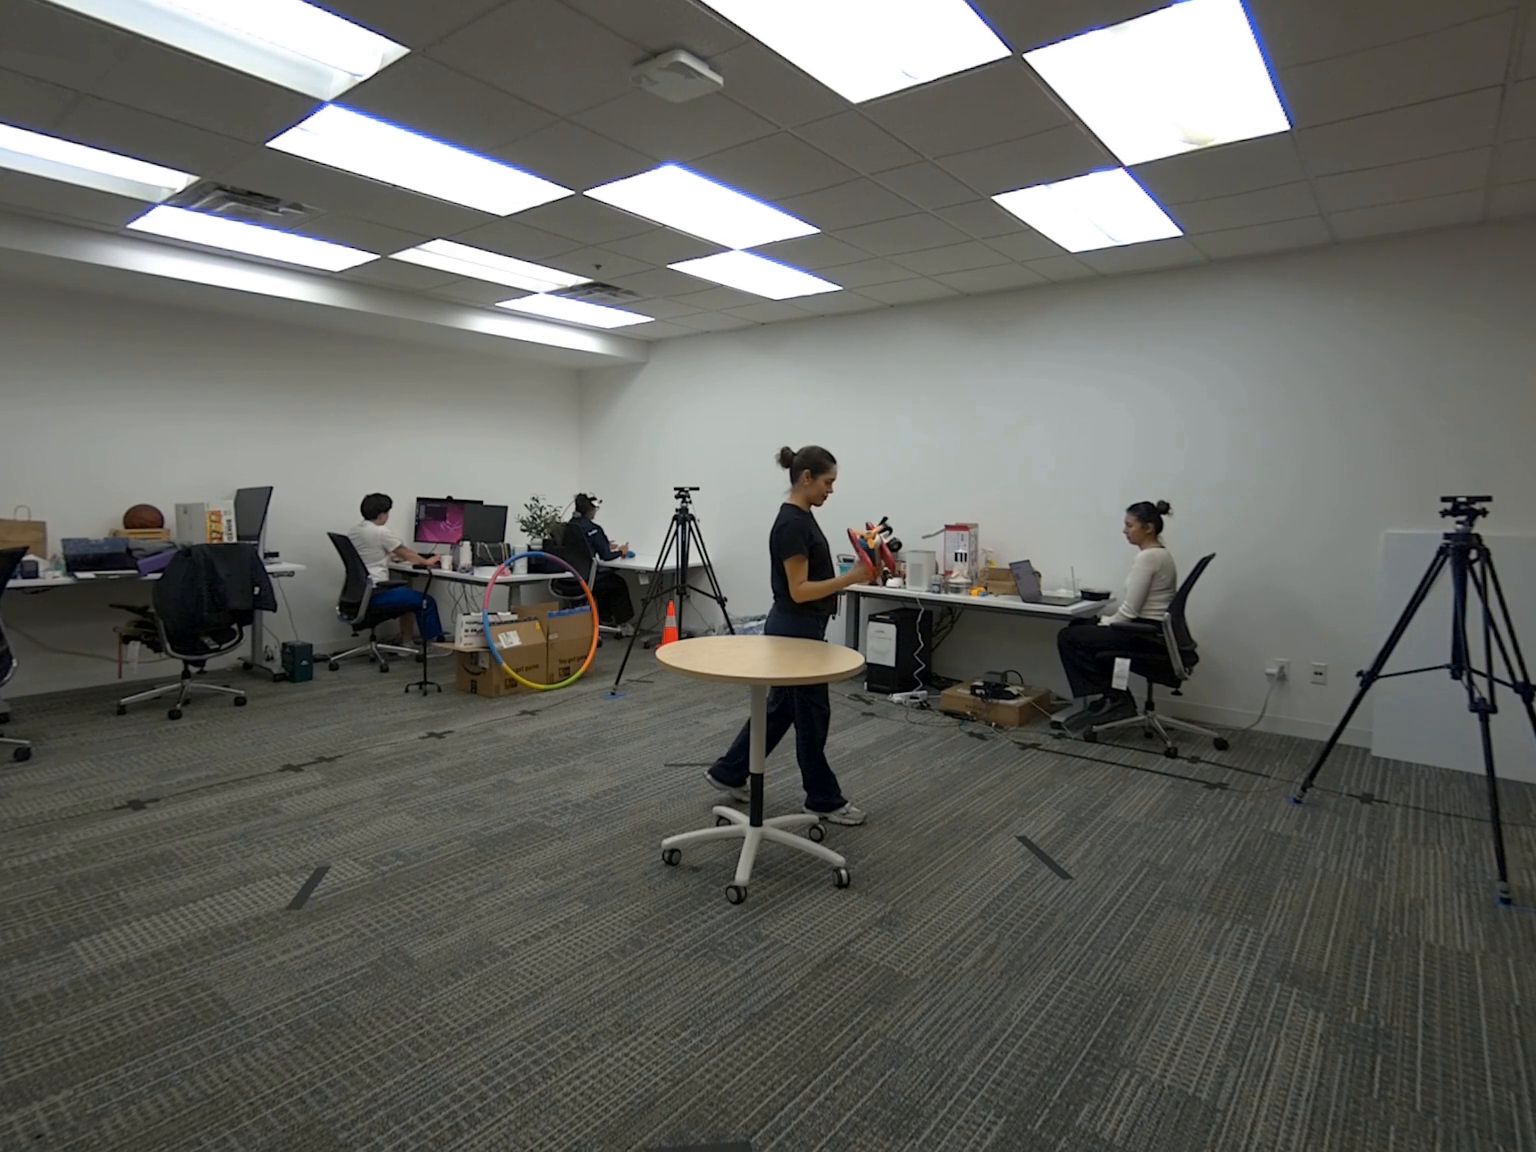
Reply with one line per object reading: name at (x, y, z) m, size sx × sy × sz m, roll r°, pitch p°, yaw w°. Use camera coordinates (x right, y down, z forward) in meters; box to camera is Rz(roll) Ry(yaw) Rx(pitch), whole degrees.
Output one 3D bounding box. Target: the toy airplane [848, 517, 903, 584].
toy airplane at (0.420, -0.070, 3.260) m, size 0.154 × 0.255 × 0.258 m, roll -9°, pitch 16°, yaw -16°
